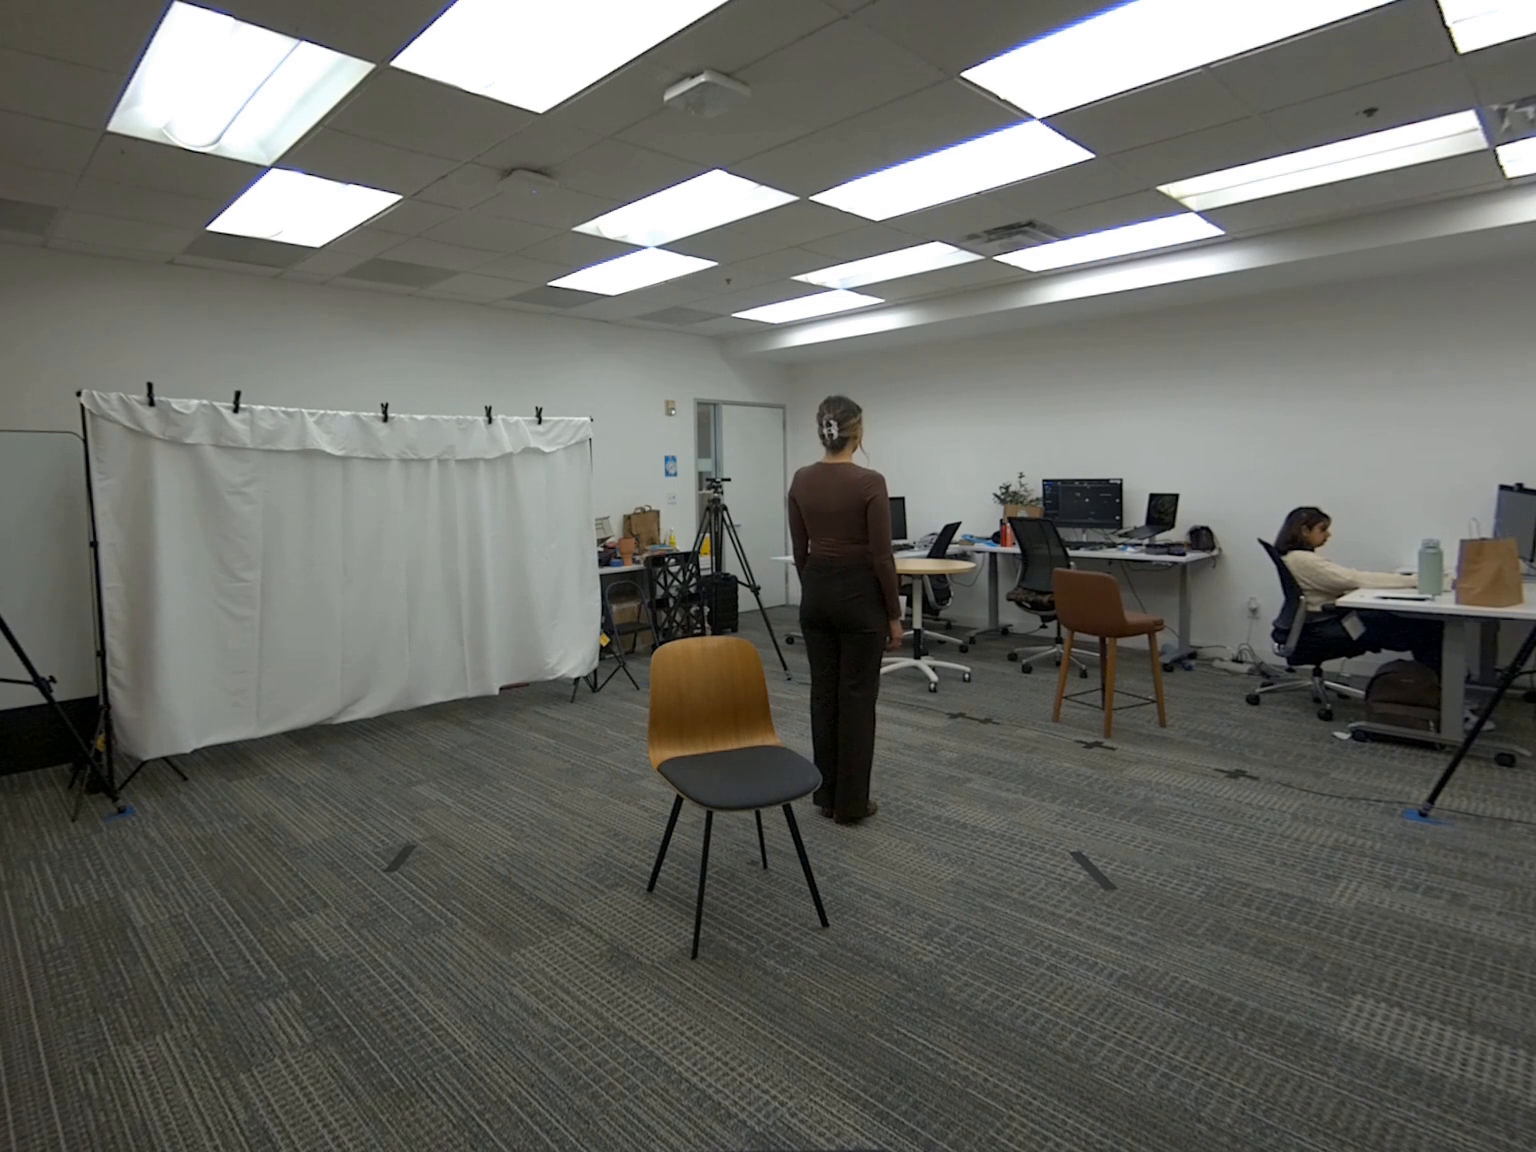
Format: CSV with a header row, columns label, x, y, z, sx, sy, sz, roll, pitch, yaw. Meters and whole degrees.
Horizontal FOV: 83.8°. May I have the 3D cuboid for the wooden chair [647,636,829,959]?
label,x,y,z,sx,sy,sz,roll,pitch,yaw
wooden chair,-0.113,0.661,2.736,0.468,0.877,0.534,-3,1,-24
